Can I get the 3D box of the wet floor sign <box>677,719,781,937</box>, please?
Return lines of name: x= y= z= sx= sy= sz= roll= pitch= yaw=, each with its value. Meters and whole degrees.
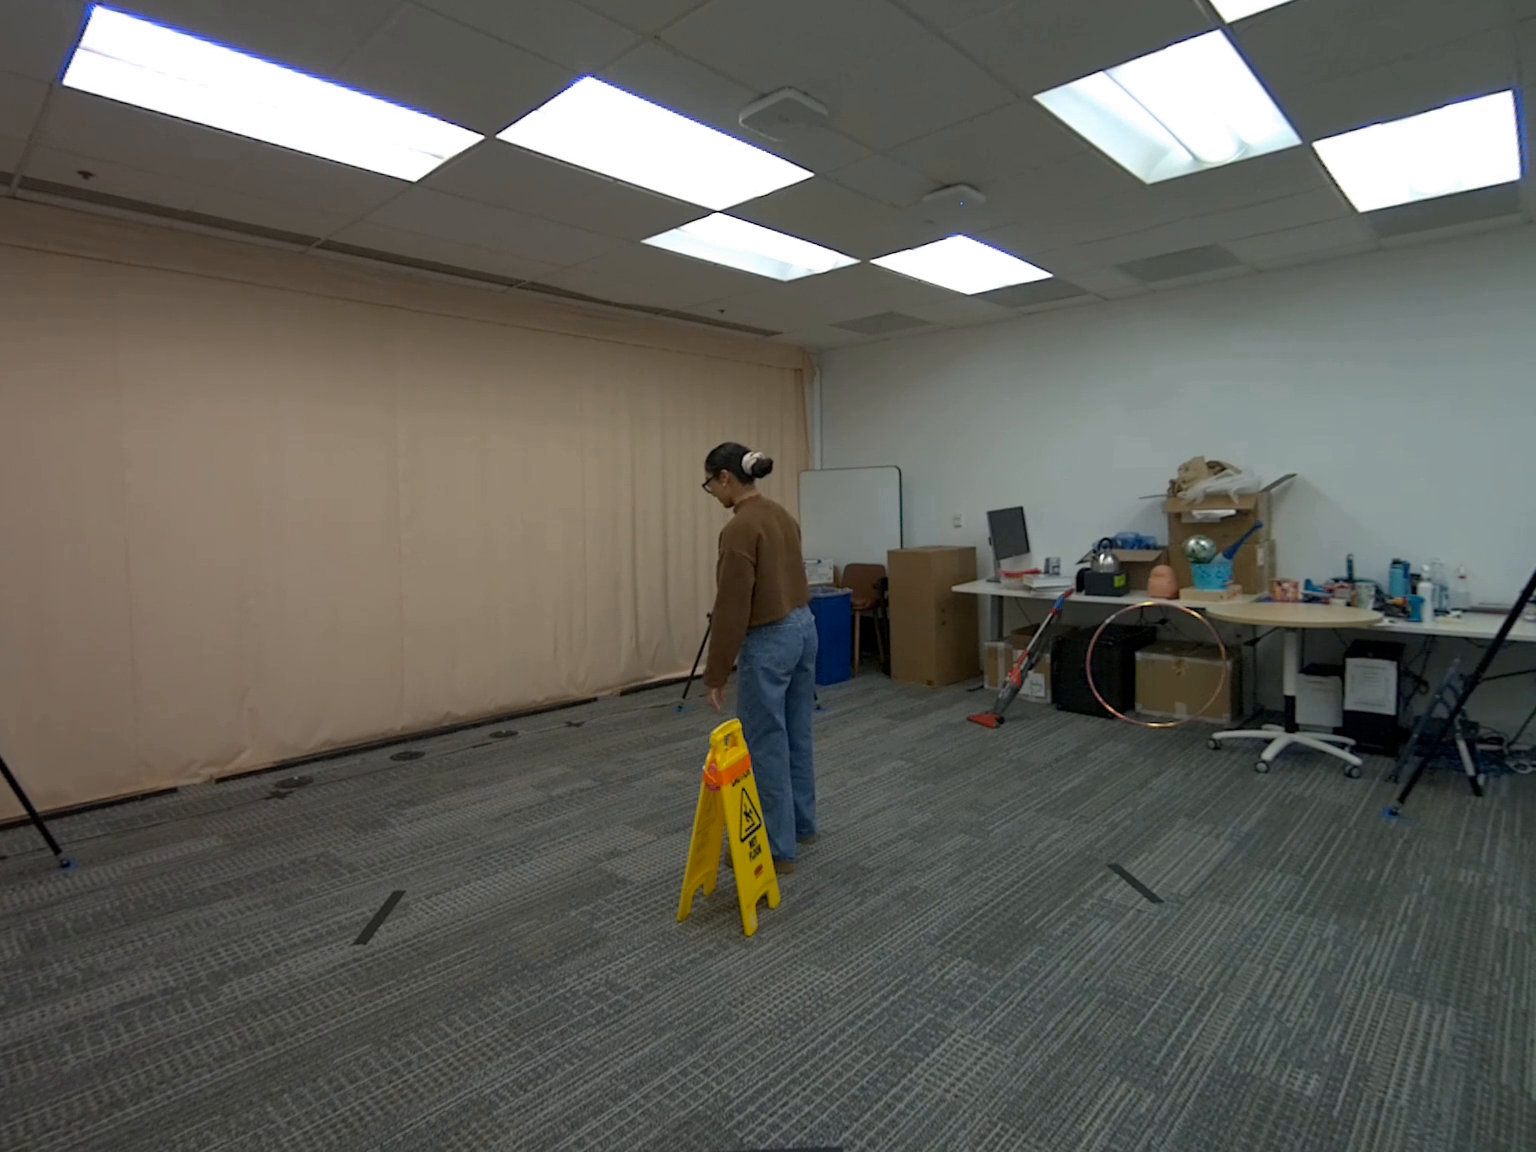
wet floor sign: x=-0.139 y=0.829 z=2.870 sx=0.297 sy=0.645 sz=0.276 roll=0 pitch=2 yaw=23
